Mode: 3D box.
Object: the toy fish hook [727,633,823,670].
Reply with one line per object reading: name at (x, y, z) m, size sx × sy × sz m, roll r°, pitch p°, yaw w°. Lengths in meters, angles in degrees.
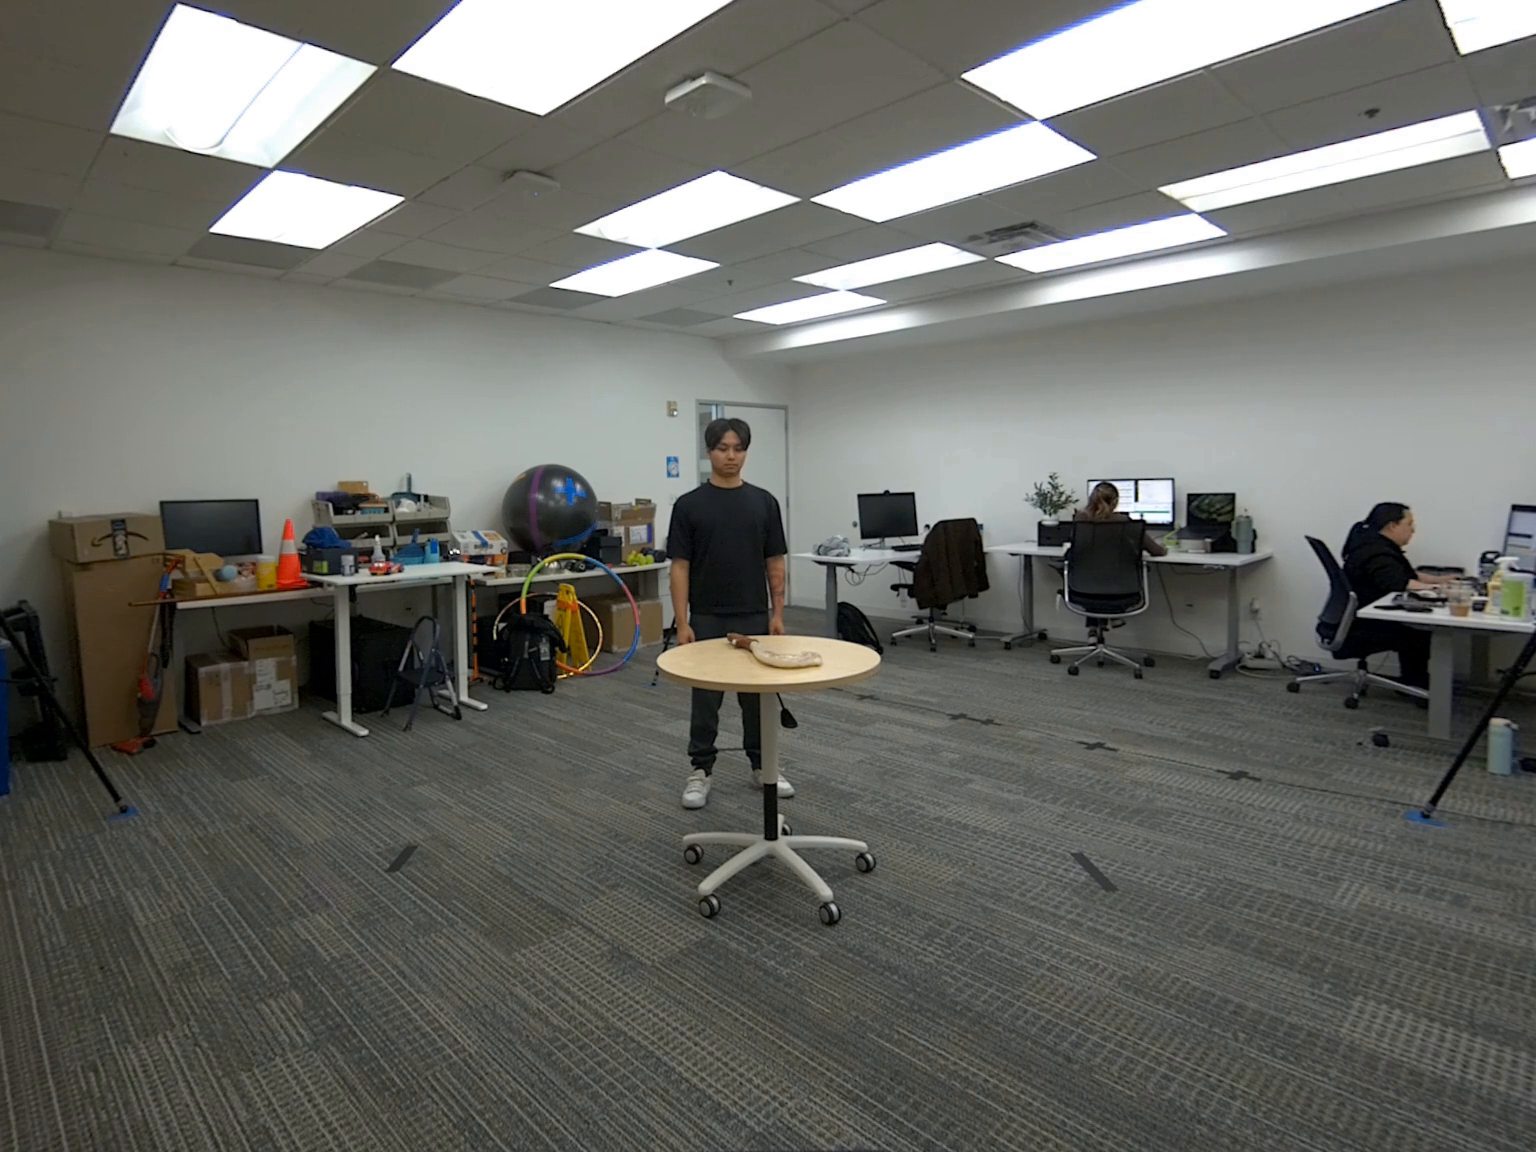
toy fish hook at (0.016, 0.263, 3.001) m, size 0.220 × 0.048 × 0.519 m, roll 0°, pitch 7°, yaw -24°
